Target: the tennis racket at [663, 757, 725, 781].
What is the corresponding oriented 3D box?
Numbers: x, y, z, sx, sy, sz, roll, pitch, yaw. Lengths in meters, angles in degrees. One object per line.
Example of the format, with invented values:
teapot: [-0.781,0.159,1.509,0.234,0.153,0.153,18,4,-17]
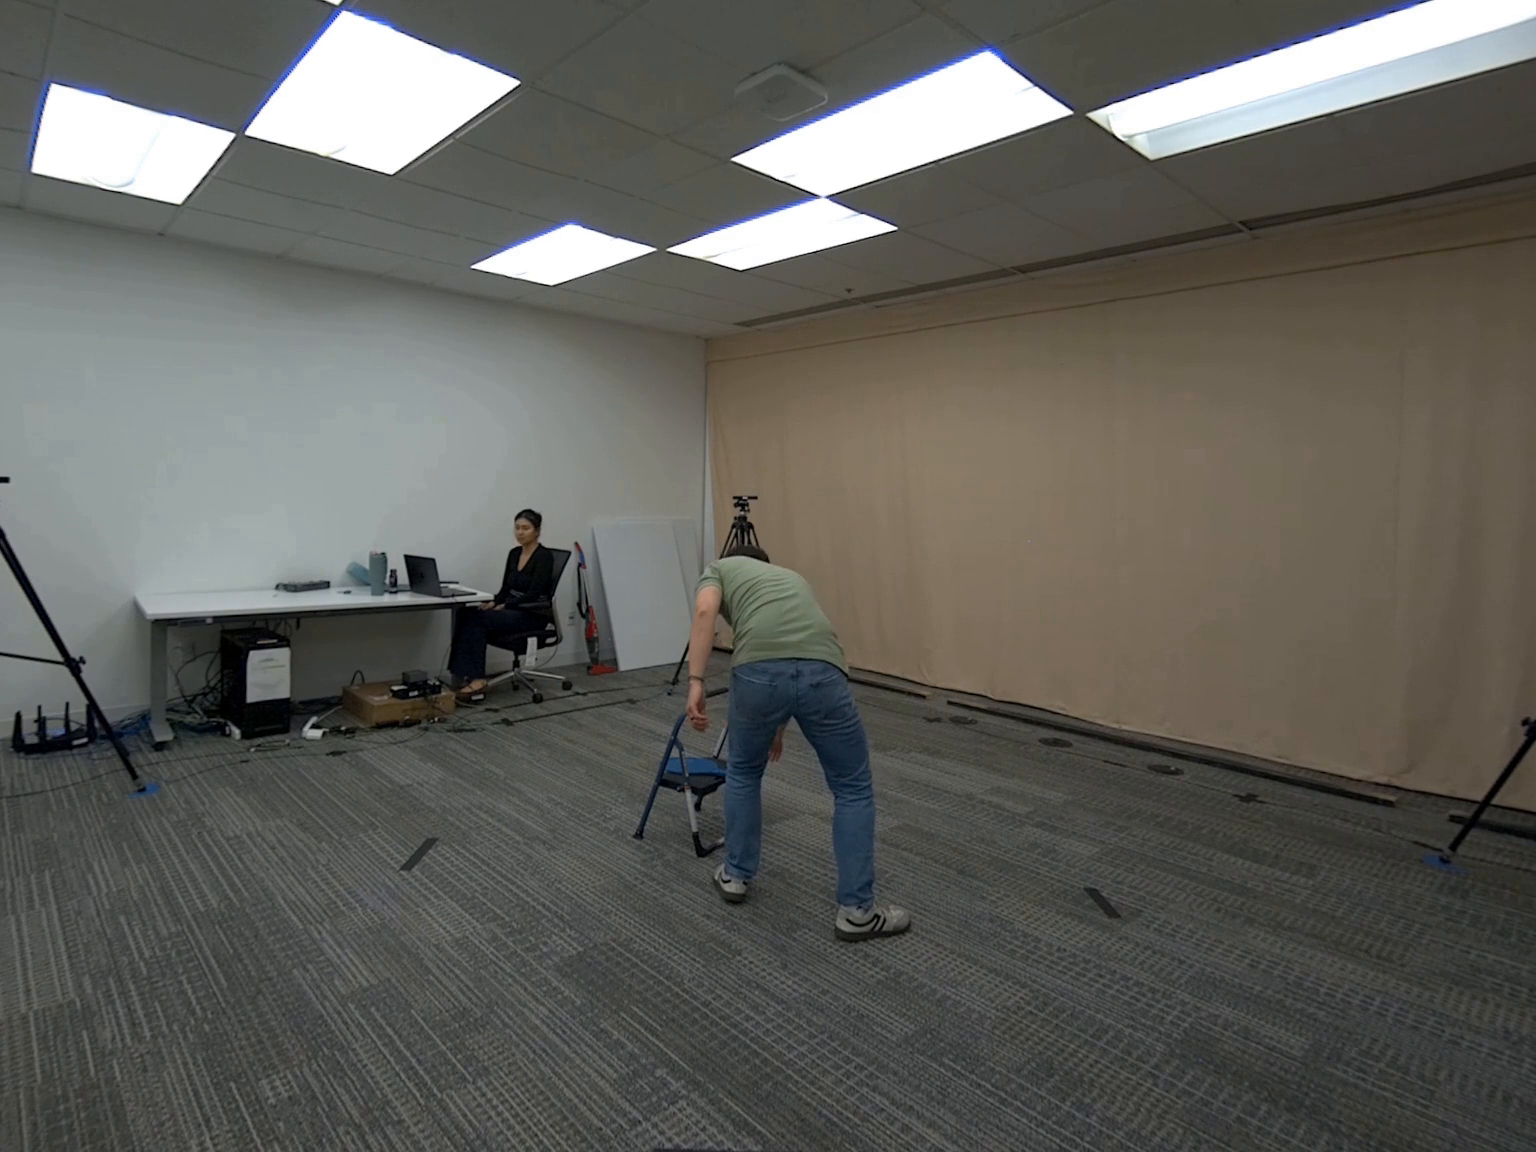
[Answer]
tennis racket: [-0.276,0.796,3.492,0.443,0.032,0.209,2,4,38]
